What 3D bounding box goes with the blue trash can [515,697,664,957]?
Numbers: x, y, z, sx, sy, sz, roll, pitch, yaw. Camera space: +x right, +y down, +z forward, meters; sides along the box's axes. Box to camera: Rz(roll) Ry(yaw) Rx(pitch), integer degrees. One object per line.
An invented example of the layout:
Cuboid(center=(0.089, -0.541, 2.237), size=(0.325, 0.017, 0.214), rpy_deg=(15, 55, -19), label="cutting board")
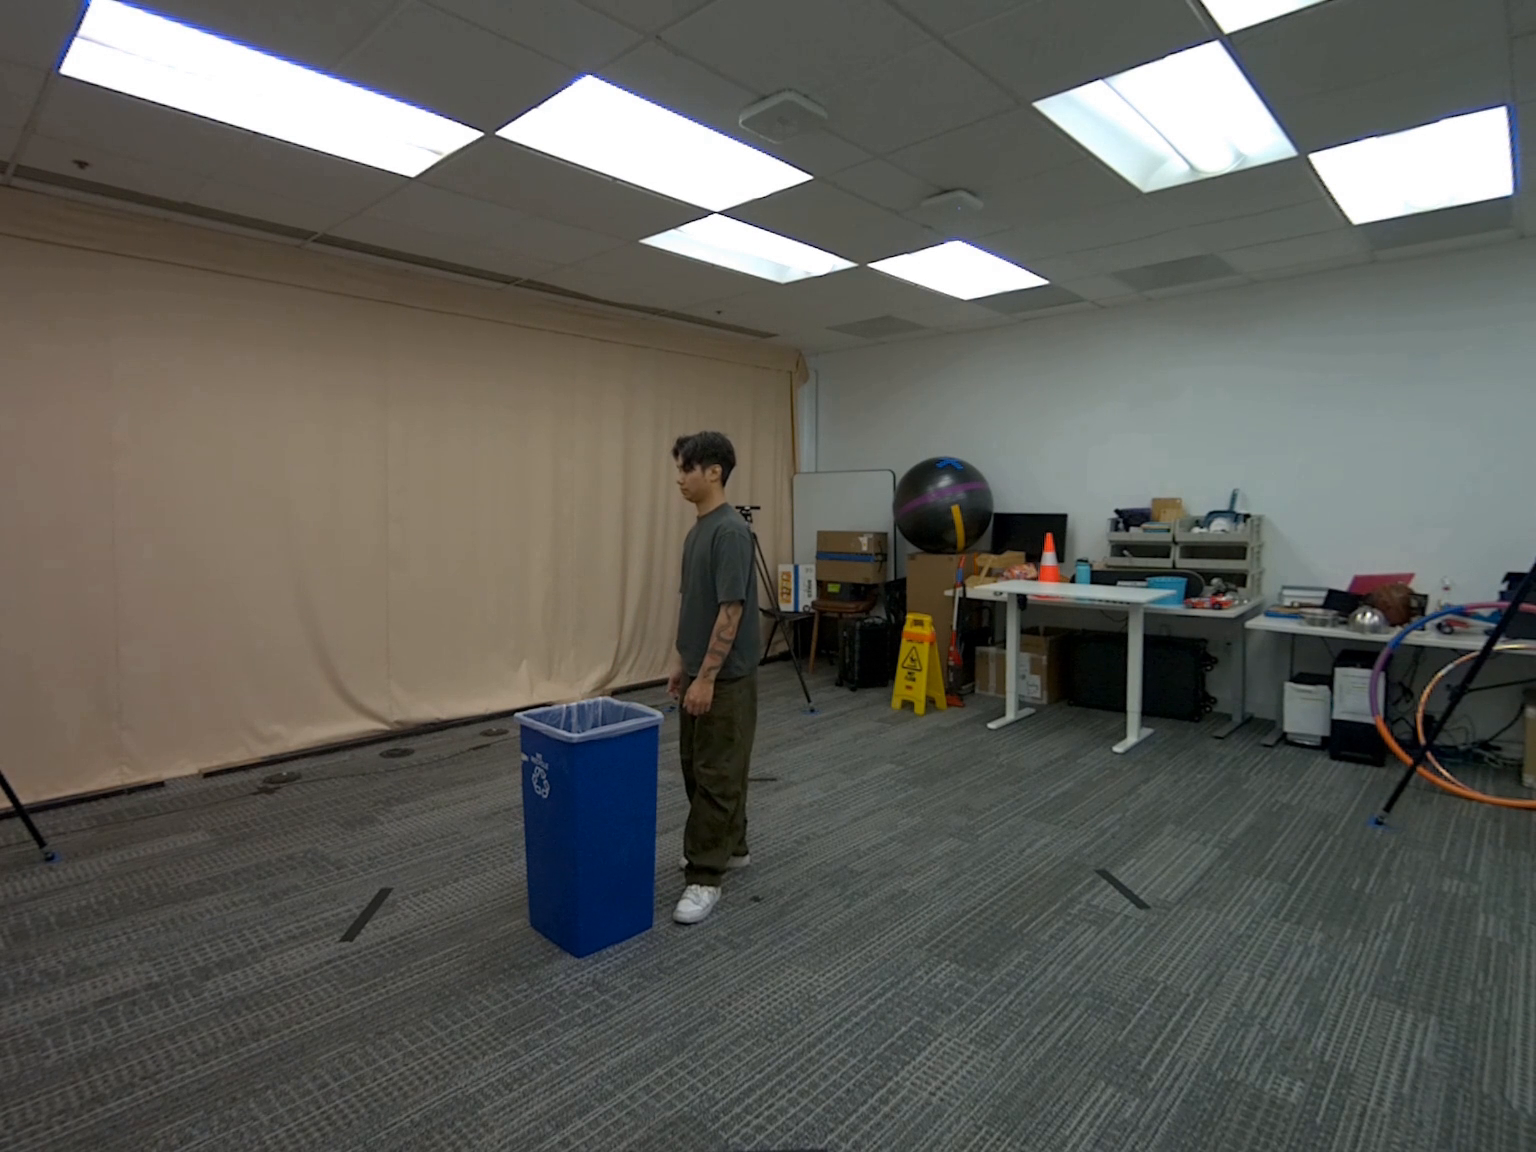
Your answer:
Cuboid(center=(-0.583, 0.808, 2.774), size=(0.366, 0.712, 0.386), rpy_deg=(-4, 4, -44), label="blue trash can")
